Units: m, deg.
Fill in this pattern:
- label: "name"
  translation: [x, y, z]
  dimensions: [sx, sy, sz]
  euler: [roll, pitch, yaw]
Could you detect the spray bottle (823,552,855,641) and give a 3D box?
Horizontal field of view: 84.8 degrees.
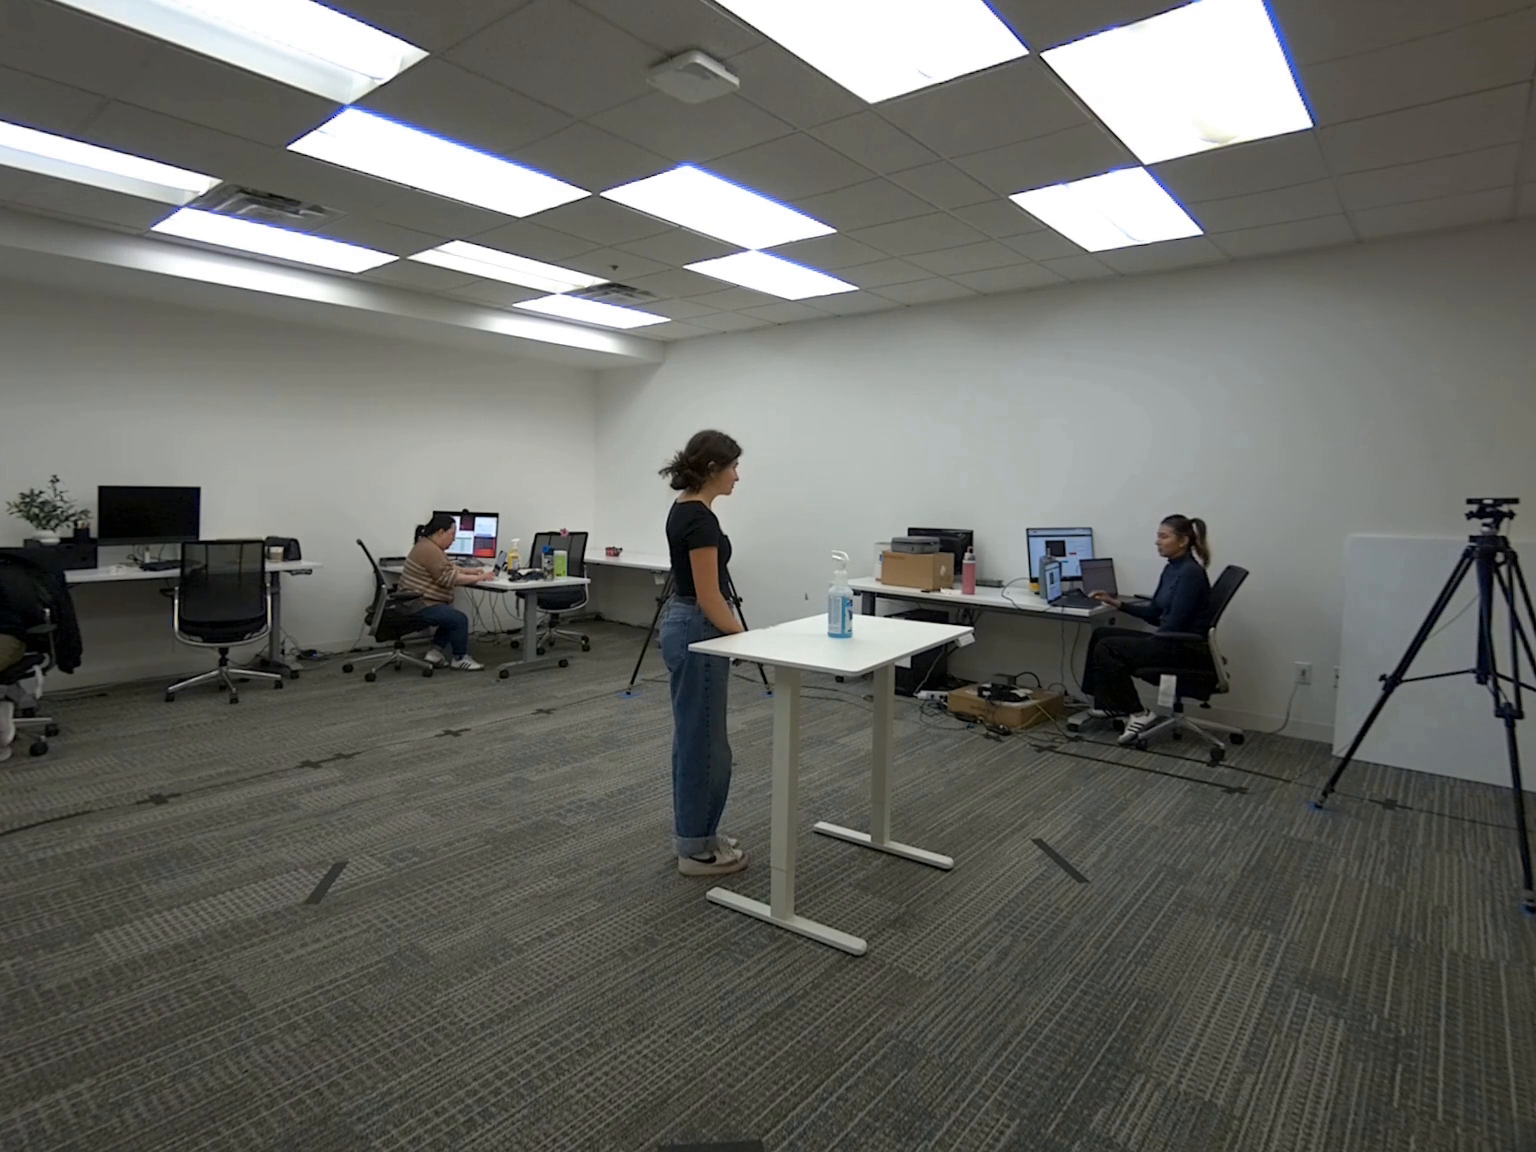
- label: "spray bottle"
  translation: [0.247, 0.067, 2.948]
  dimensions: [0.086, 0.296, 0.091]
  euler: [0, 4, -6]
